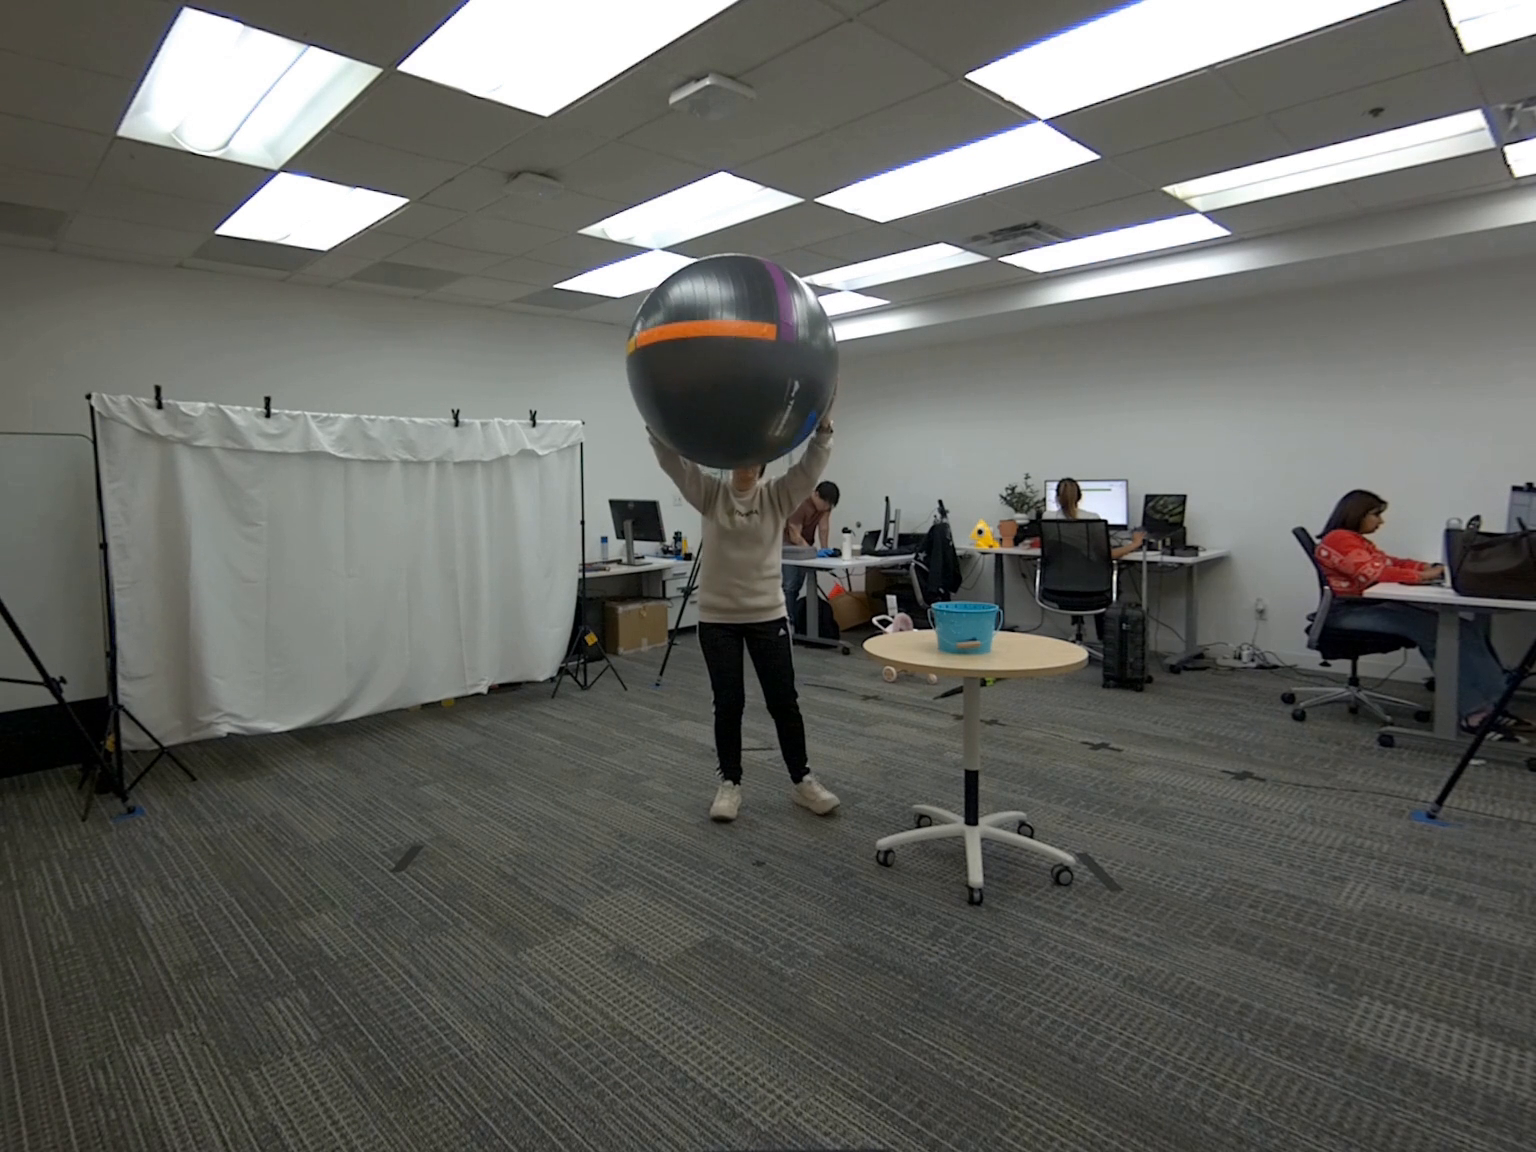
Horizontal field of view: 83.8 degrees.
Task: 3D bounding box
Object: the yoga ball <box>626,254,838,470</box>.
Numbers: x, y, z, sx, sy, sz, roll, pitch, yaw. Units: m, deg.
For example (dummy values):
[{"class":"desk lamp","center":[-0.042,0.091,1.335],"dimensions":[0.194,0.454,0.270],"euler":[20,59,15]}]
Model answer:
[{"class":"yoga ball","center":[-0.126,-0.753,3.068],"dimensions":[0.757,0.755,0.762],"euler":[-1,5,-2]}]
